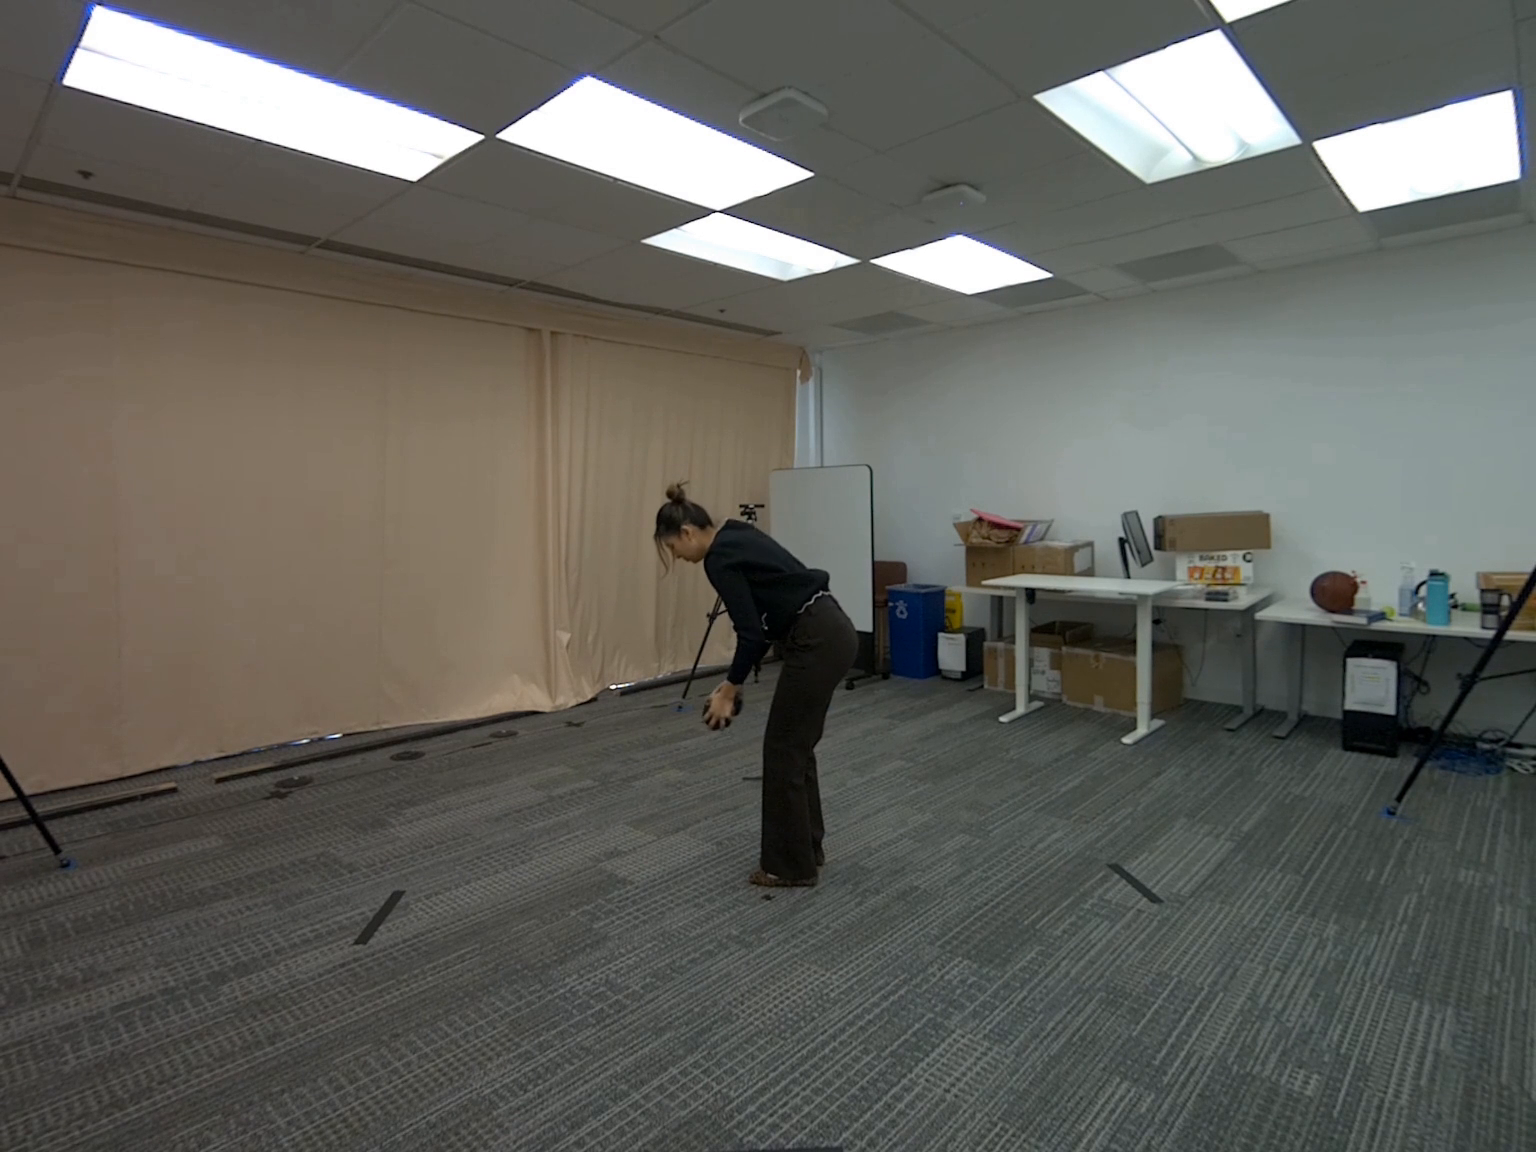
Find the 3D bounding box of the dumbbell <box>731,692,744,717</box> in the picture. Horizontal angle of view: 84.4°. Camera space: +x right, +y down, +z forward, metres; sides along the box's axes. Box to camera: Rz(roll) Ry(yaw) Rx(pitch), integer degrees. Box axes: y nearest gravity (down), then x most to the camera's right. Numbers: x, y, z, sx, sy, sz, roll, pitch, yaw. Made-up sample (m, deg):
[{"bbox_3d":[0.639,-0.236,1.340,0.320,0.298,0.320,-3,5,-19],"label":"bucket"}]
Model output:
[{"bbox_3d":[-0.157,0.498,3.208,0.123,0.109,0.292,-19,1,4],"label":"dumbbell"}]
